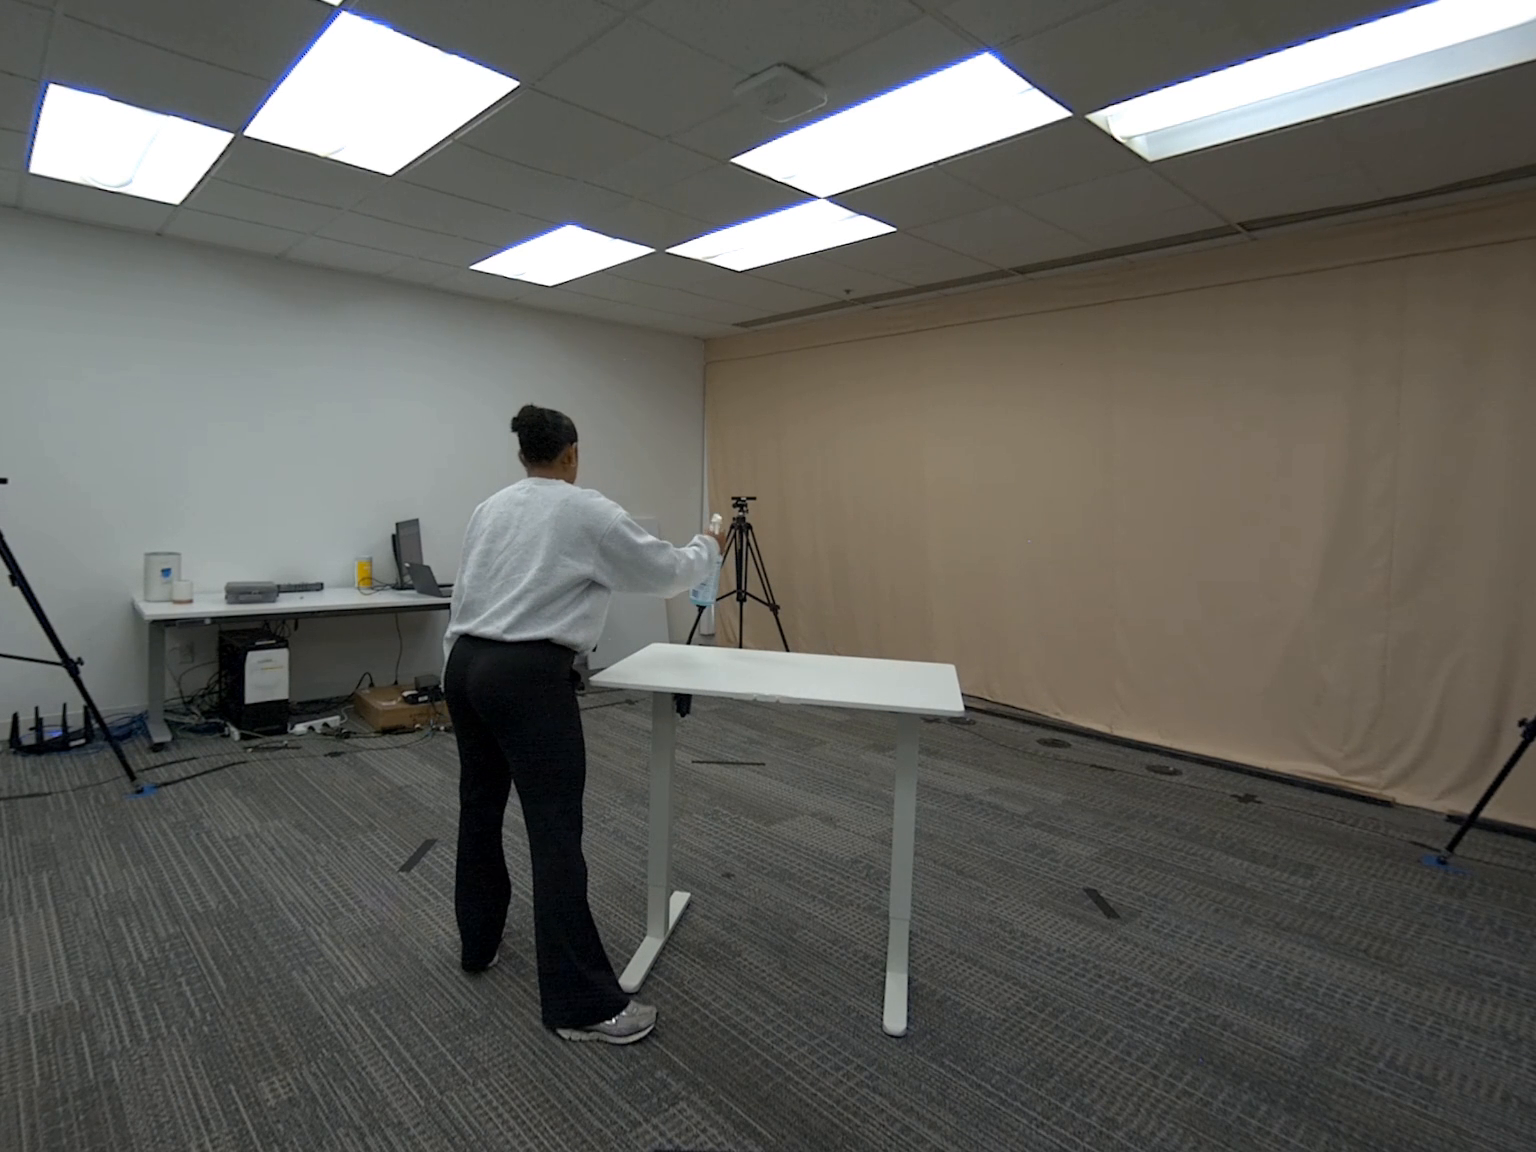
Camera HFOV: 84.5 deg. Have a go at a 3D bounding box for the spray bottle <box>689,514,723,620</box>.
[{"bbox_3d":[-0.200,-0.048,2.700,0.088,0.295,0.089,13,14,13],"label":"spray bottle"}]
